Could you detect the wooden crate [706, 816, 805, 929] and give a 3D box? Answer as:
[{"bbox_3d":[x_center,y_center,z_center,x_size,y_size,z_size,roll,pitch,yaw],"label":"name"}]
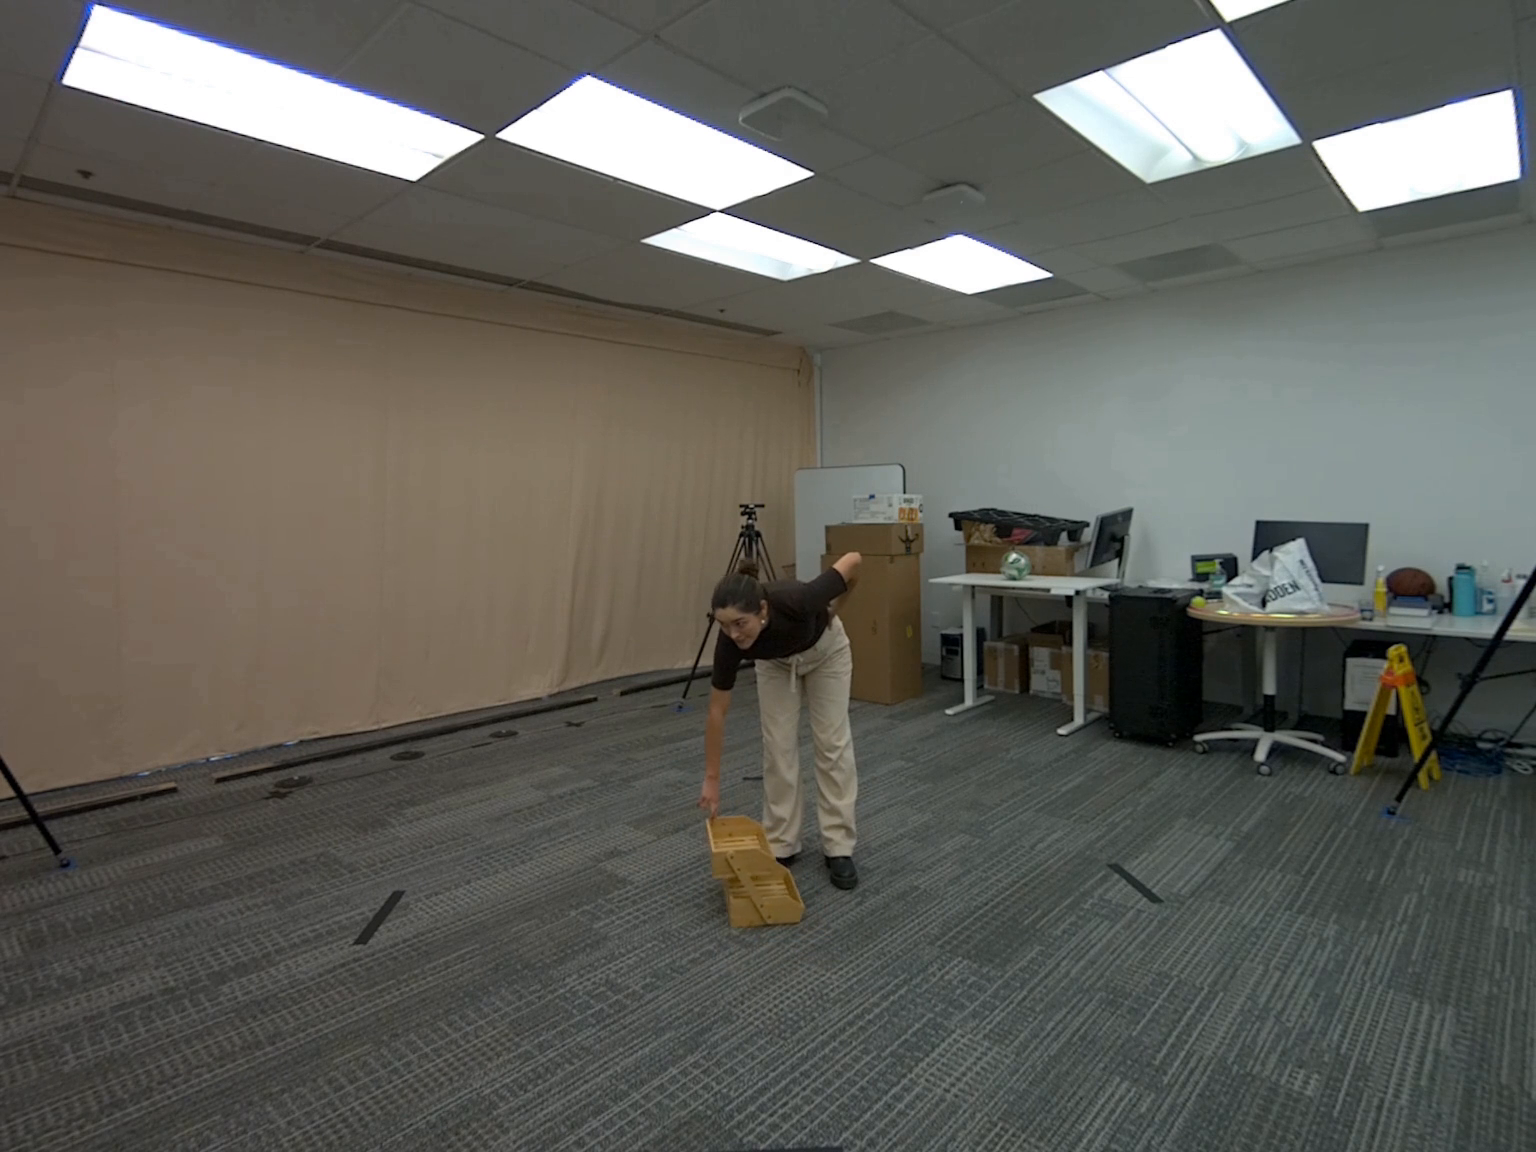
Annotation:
[{"bbox_3d":[-0.044,1.013,2.921,0.300,0.273,0.327,-1,3,-7],"label":"wooden crate"}]
